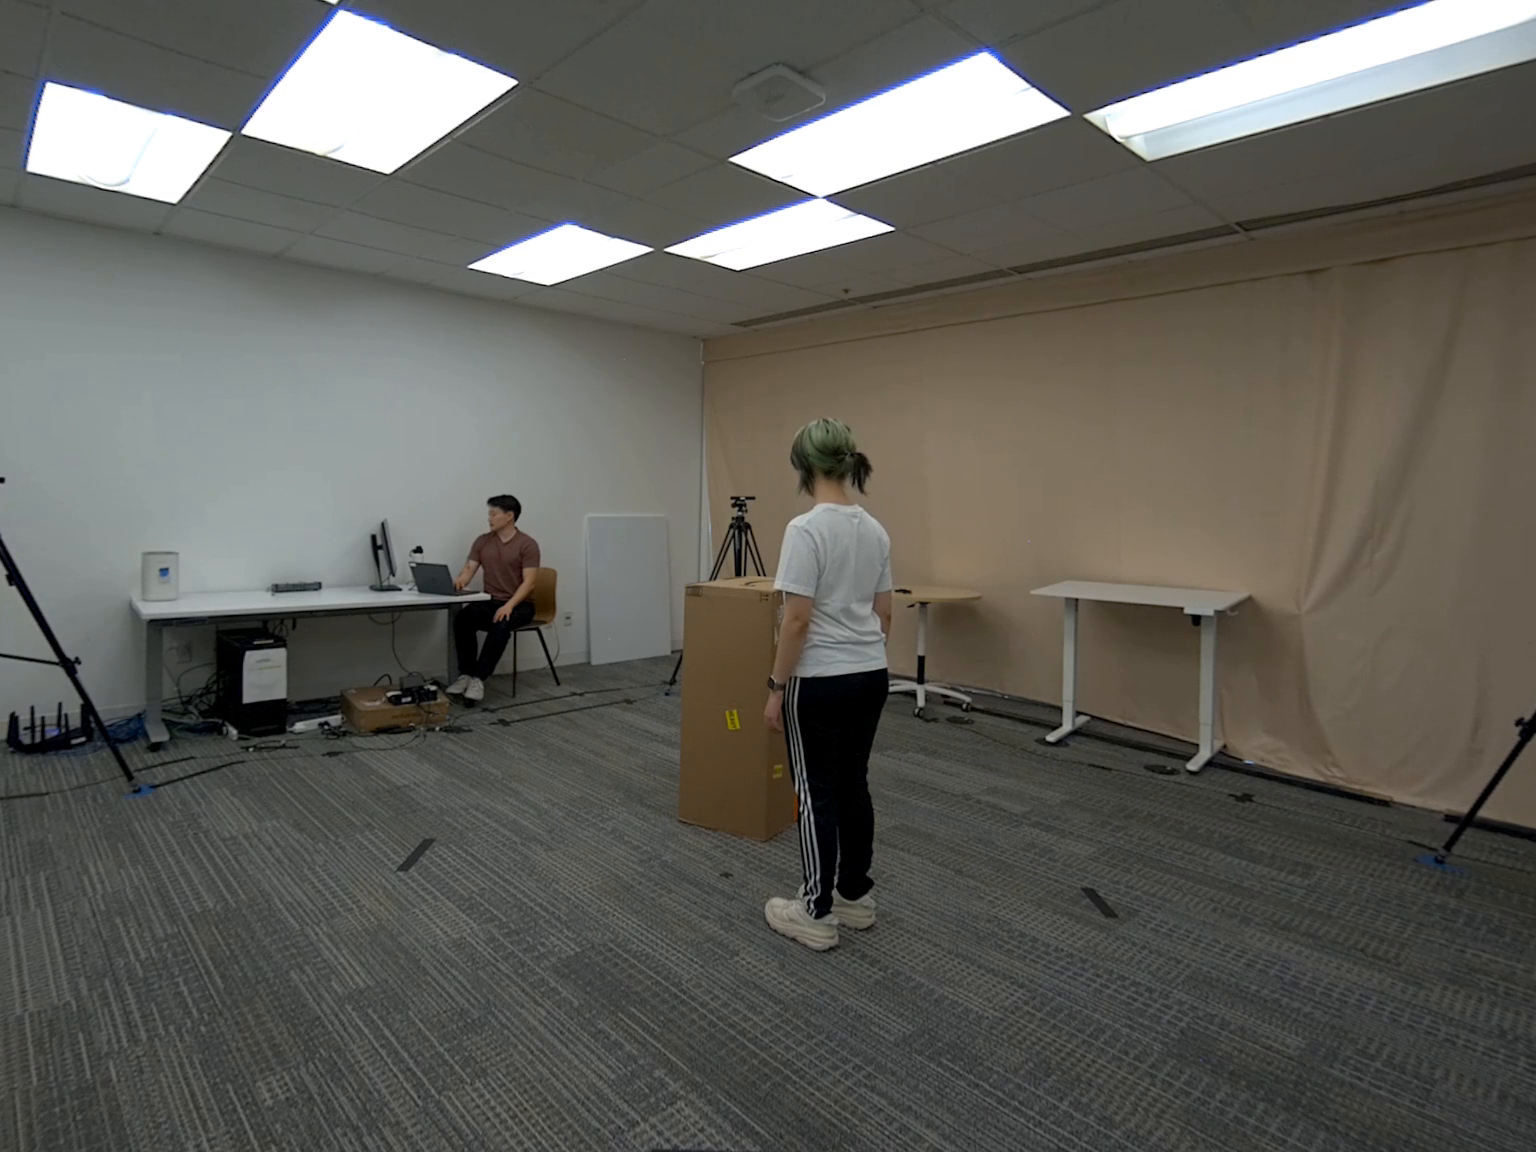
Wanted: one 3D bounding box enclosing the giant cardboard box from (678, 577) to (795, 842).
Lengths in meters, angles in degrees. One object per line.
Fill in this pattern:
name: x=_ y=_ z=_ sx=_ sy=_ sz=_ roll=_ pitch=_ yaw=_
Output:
giant cardboard box: x=-0.064 y=0.543 z=3.740 sx=0.435 sy=1.024 sz=0.566 roll=4 pitch=3 yaw=28
